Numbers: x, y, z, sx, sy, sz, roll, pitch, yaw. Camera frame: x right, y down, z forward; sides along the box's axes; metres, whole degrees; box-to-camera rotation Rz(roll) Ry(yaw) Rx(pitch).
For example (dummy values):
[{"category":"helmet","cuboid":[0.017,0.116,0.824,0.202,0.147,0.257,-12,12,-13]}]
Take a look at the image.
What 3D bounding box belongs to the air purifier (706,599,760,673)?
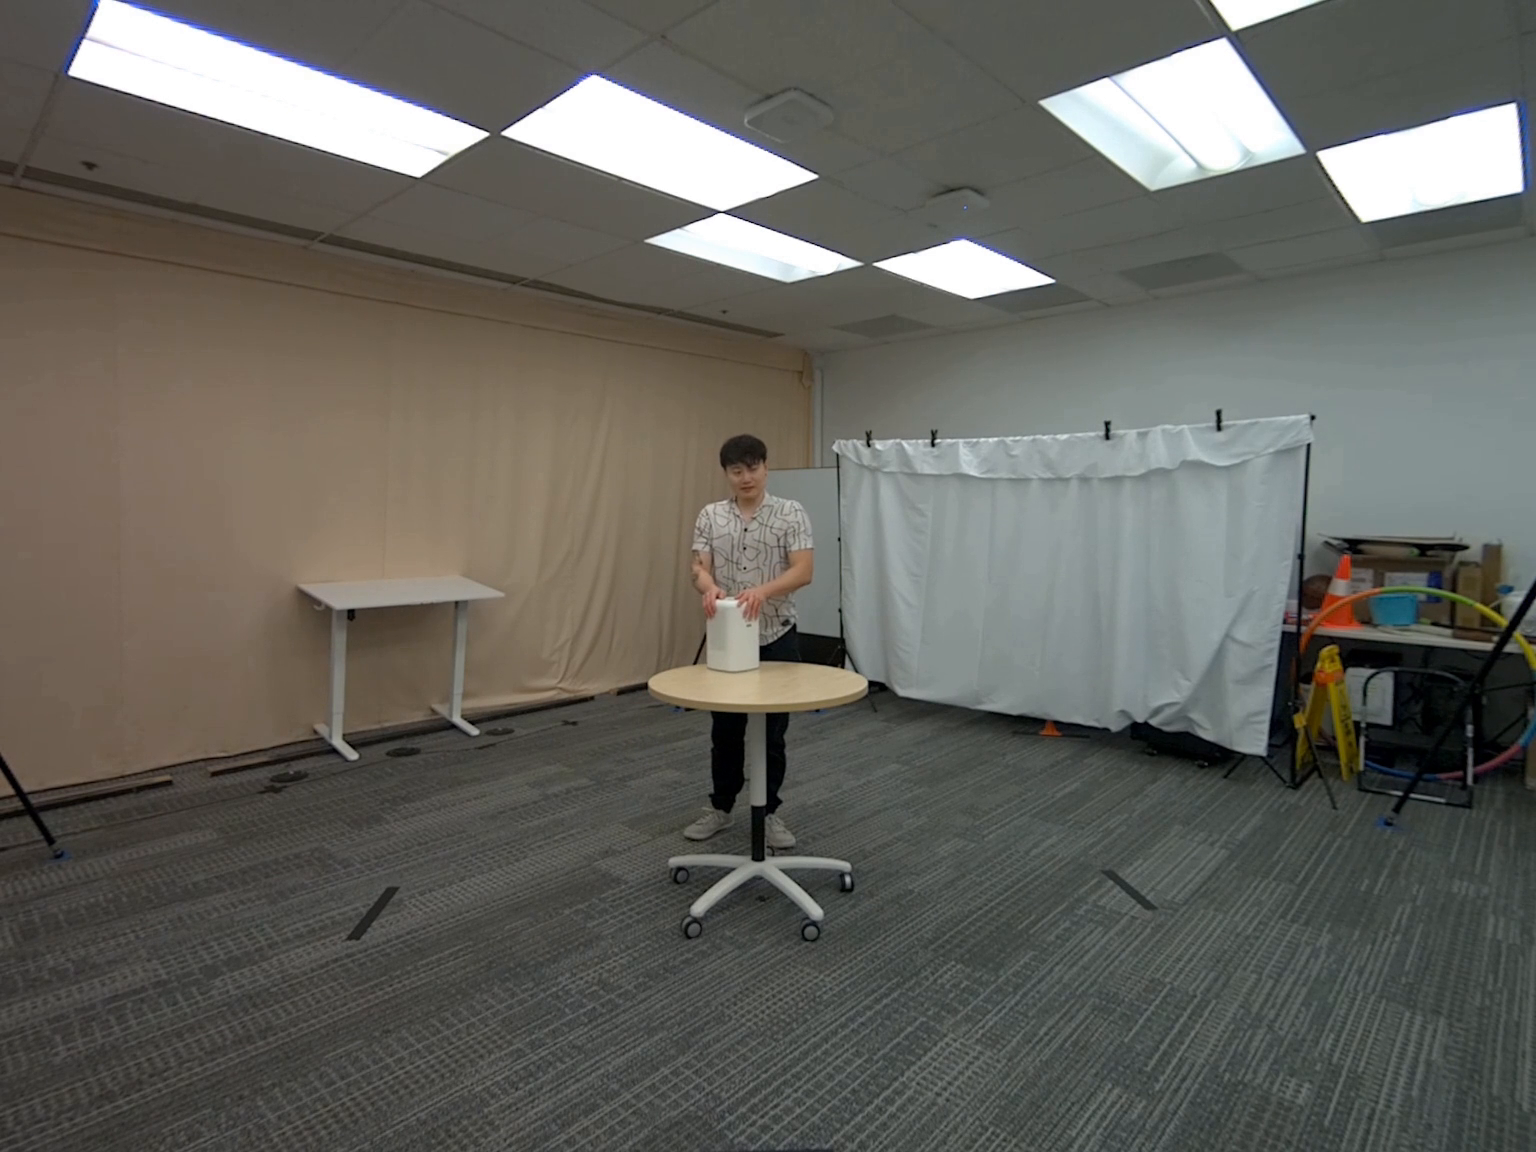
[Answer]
[{"category":"air purifier","cuboid":[-0.125,0.215,3.197,0.177,0.265,0.166,1,3,44]}]
